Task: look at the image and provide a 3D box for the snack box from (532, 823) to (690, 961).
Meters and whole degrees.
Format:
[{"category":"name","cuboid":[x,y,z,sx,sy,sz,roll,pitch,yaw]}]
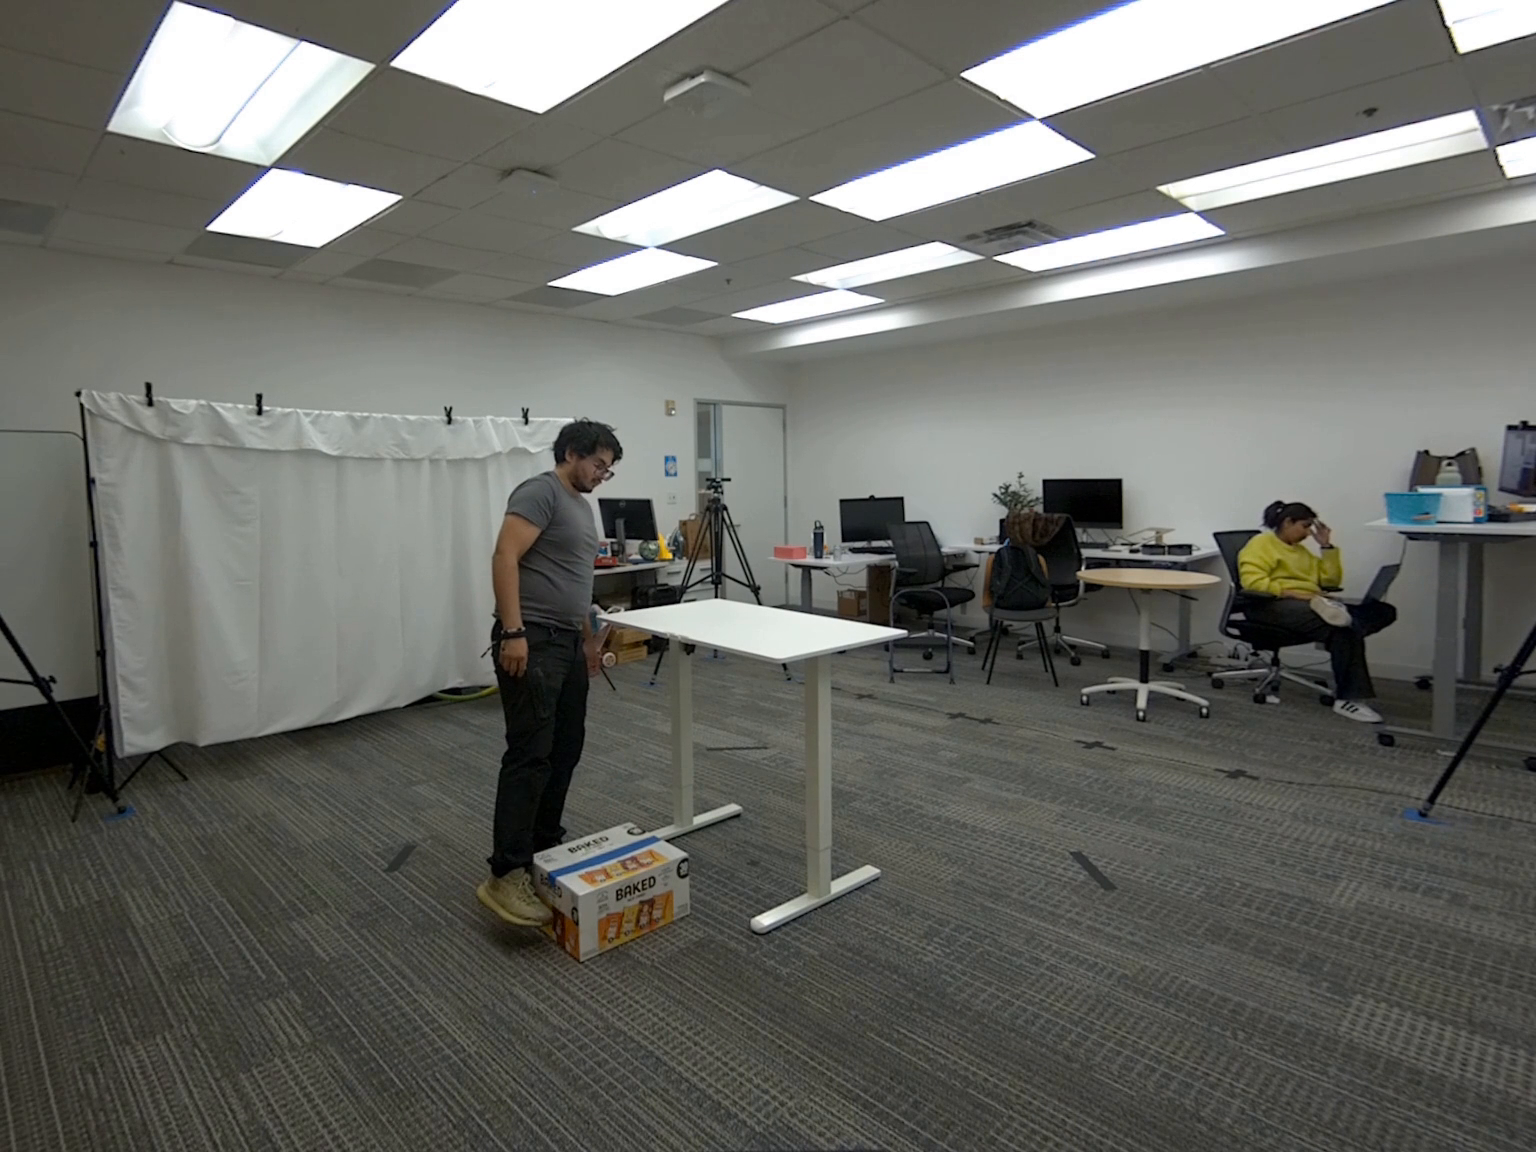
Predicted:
[{"category":"snack box","cuboid":[-0.506,0.994,2.733,0.395,0.205,0.351,-7,8,-41]}]
